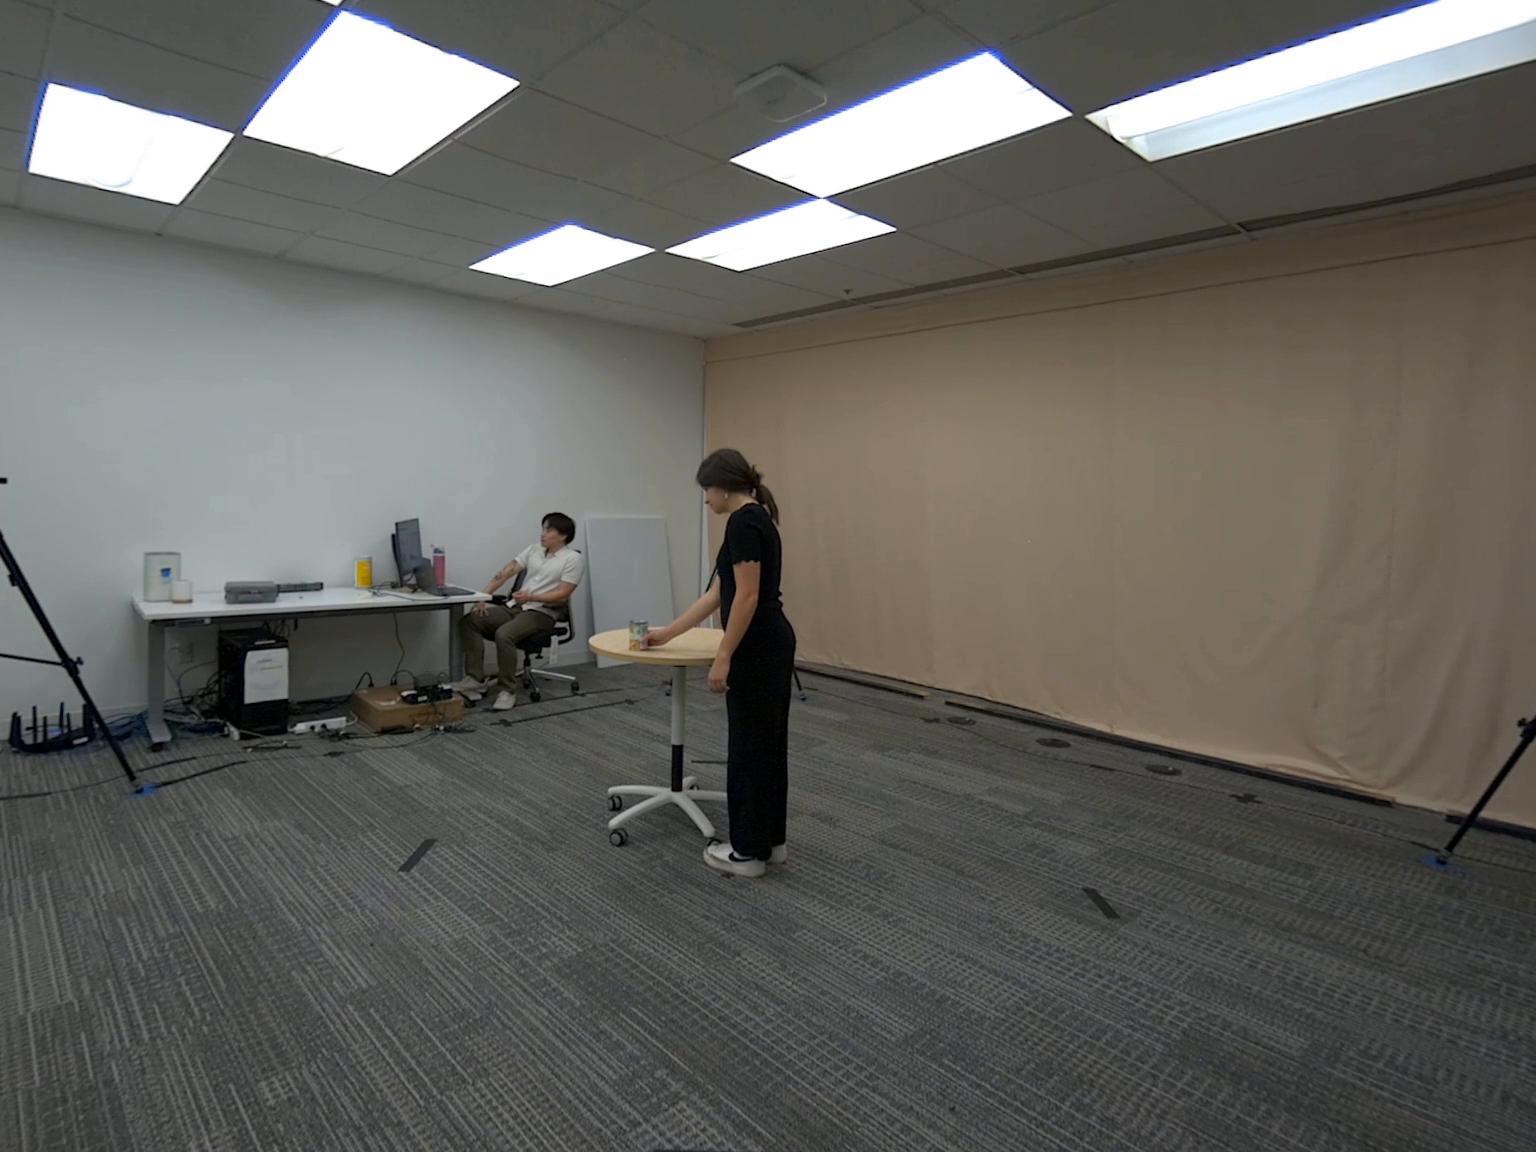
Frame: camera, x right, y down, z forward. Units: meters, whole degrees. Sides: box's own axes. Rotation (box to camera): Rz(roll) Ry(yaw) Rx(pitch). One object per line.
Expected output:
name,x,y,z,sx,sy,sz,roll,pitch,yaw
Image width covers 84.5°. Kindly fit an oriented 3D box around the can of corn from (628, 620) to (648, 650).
can of corn,-0.516,0.231,3.338,0.074,0.110,0.074,2,5,-2
